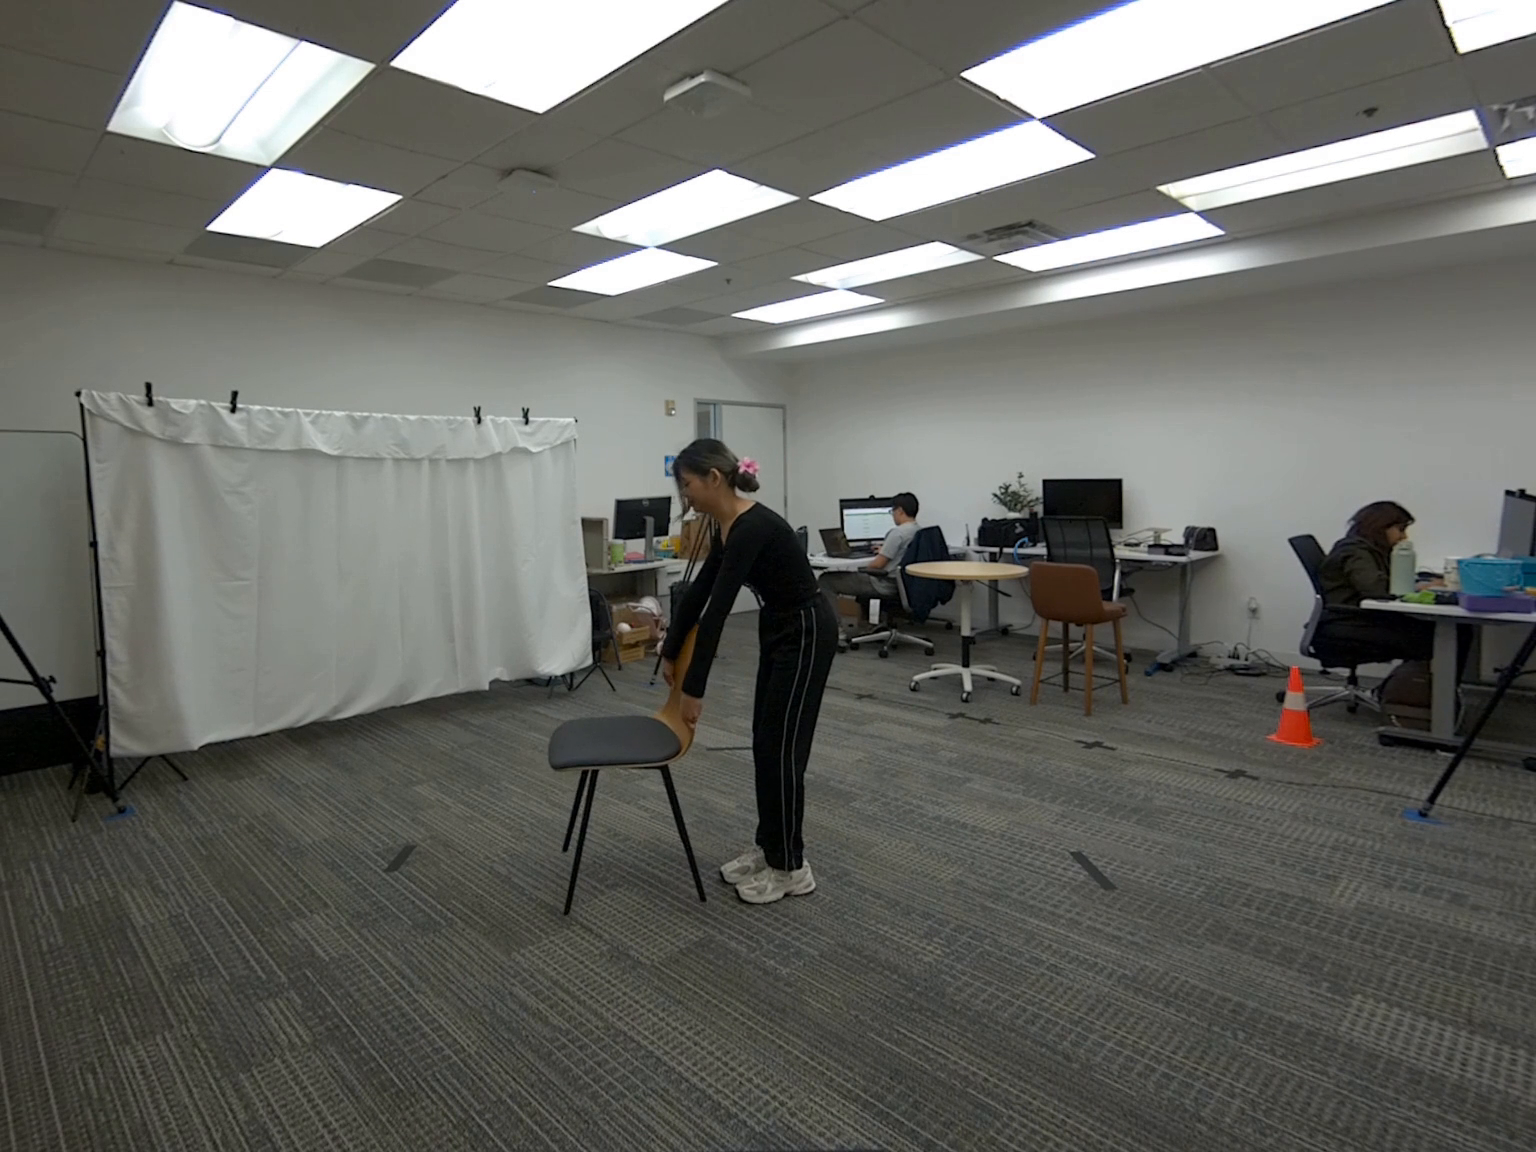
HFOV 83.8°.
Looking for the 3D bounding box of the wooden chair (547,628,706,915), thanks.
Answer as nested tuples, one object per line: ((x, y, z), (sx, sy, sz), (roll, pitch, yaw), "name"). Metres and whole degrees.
((-0.470, 0.604, 2.877), (0.516, 0.873, 0.486), (4, 5, -13), "wooden chair")
